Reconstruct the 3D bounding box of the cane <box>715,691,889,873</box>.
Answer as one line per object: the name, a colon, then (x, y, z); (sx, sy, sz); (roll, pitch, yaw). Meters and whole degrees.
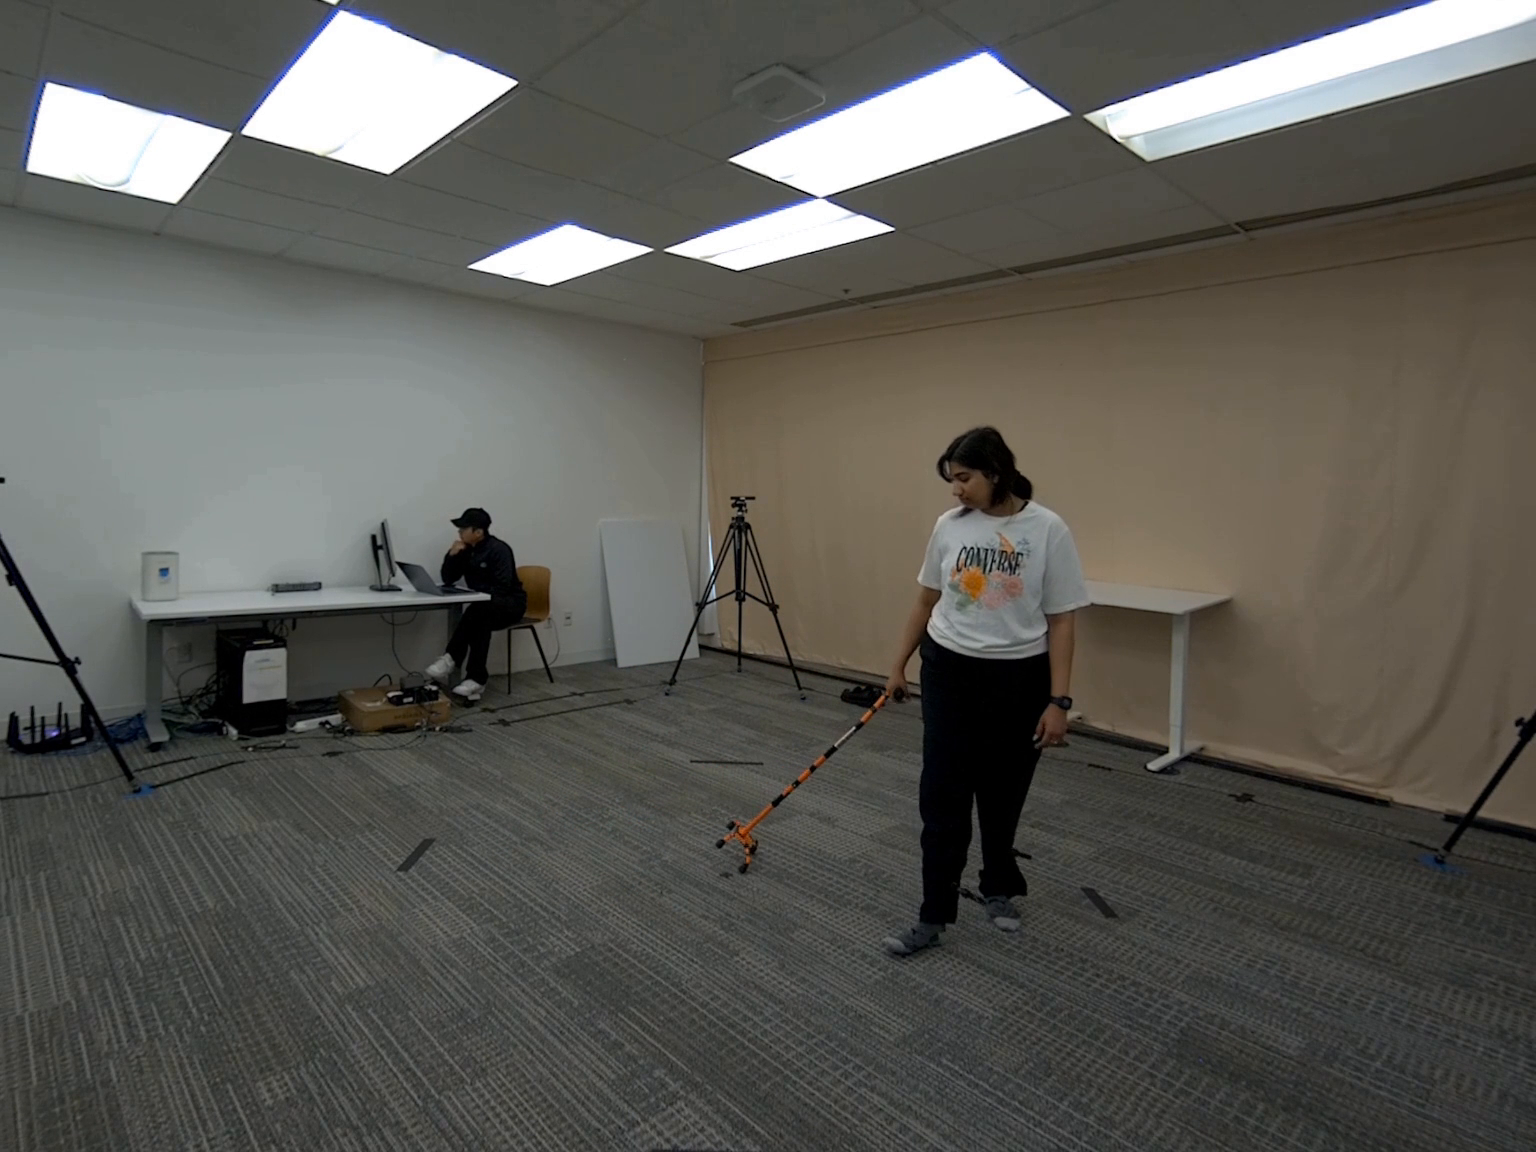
cane: (0.171, 0.728, 3.126); (0.152, 0.908, 0.205); (44, 12, 3)
